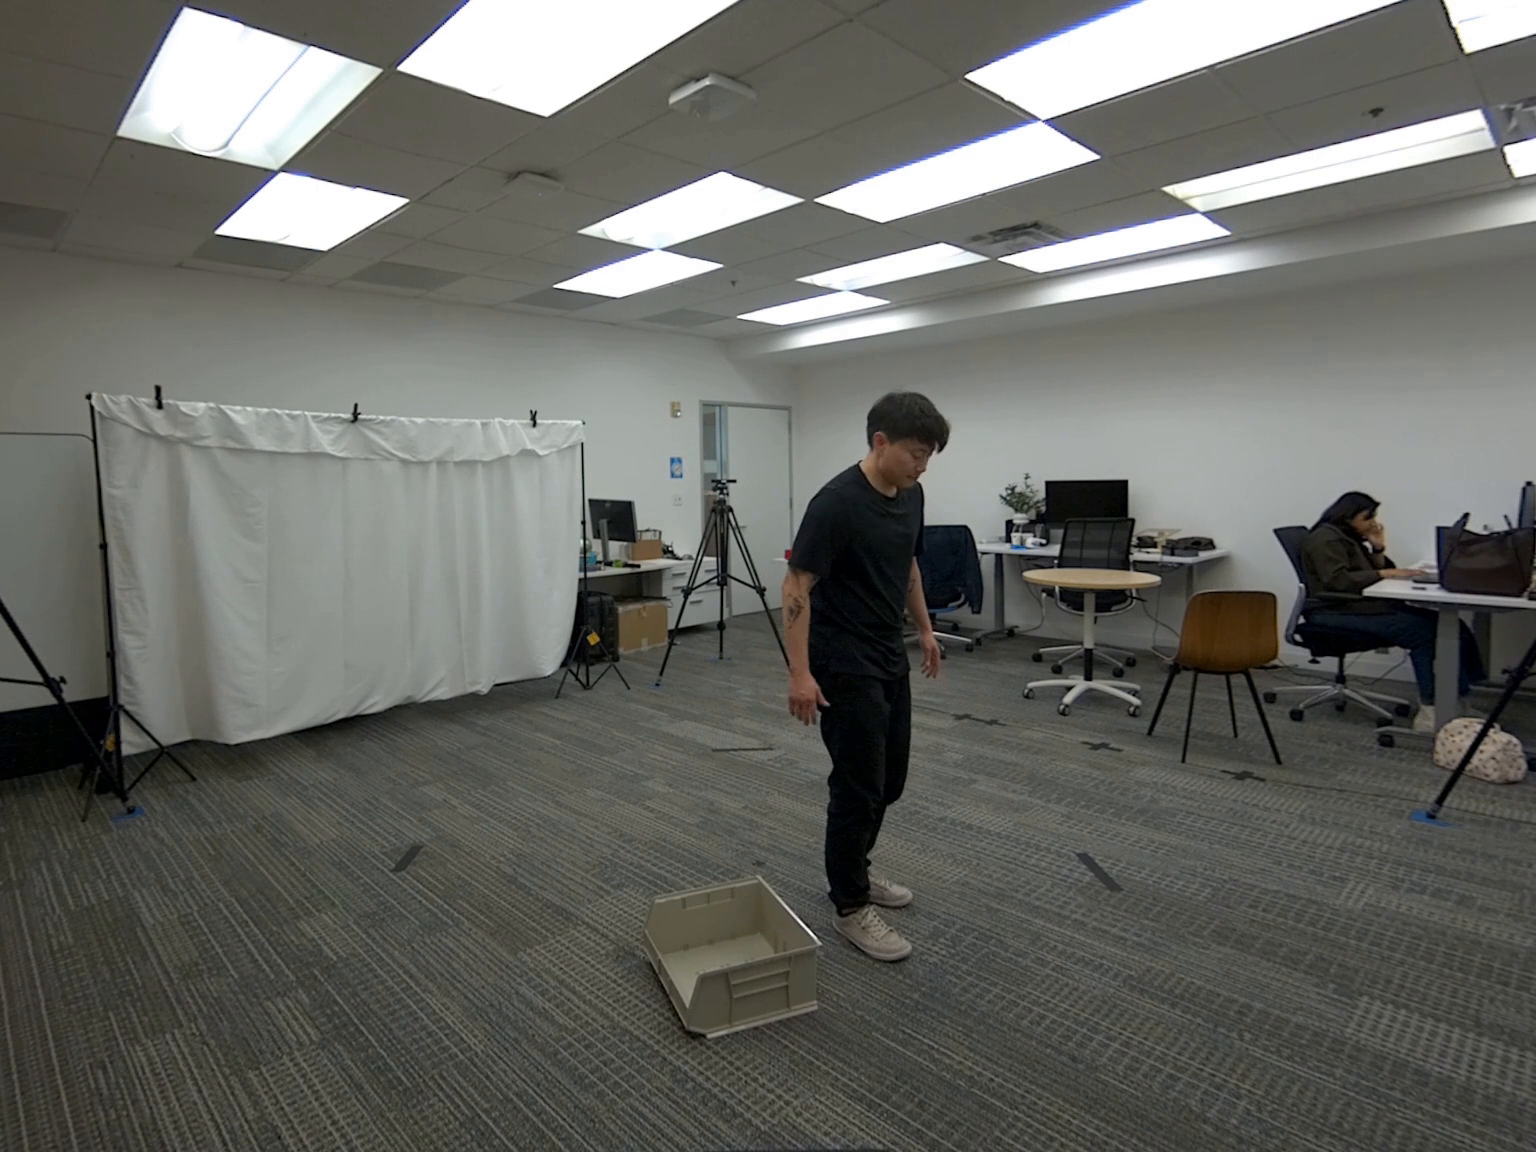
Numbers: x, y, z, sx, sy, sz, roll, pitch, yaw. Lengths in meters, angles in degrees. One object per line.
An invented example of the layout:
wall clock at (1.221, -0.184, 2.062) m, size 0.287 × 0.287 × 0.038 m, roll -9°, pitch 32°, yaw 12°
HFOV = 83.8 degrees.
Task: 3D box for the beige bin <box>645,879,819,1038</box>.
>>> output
beige bin at (-0.109, 1.049, 2.367) m, size 0.370 × 0.188 × 0.432 m, roll -3°, pitch 6°, yaw -23°
